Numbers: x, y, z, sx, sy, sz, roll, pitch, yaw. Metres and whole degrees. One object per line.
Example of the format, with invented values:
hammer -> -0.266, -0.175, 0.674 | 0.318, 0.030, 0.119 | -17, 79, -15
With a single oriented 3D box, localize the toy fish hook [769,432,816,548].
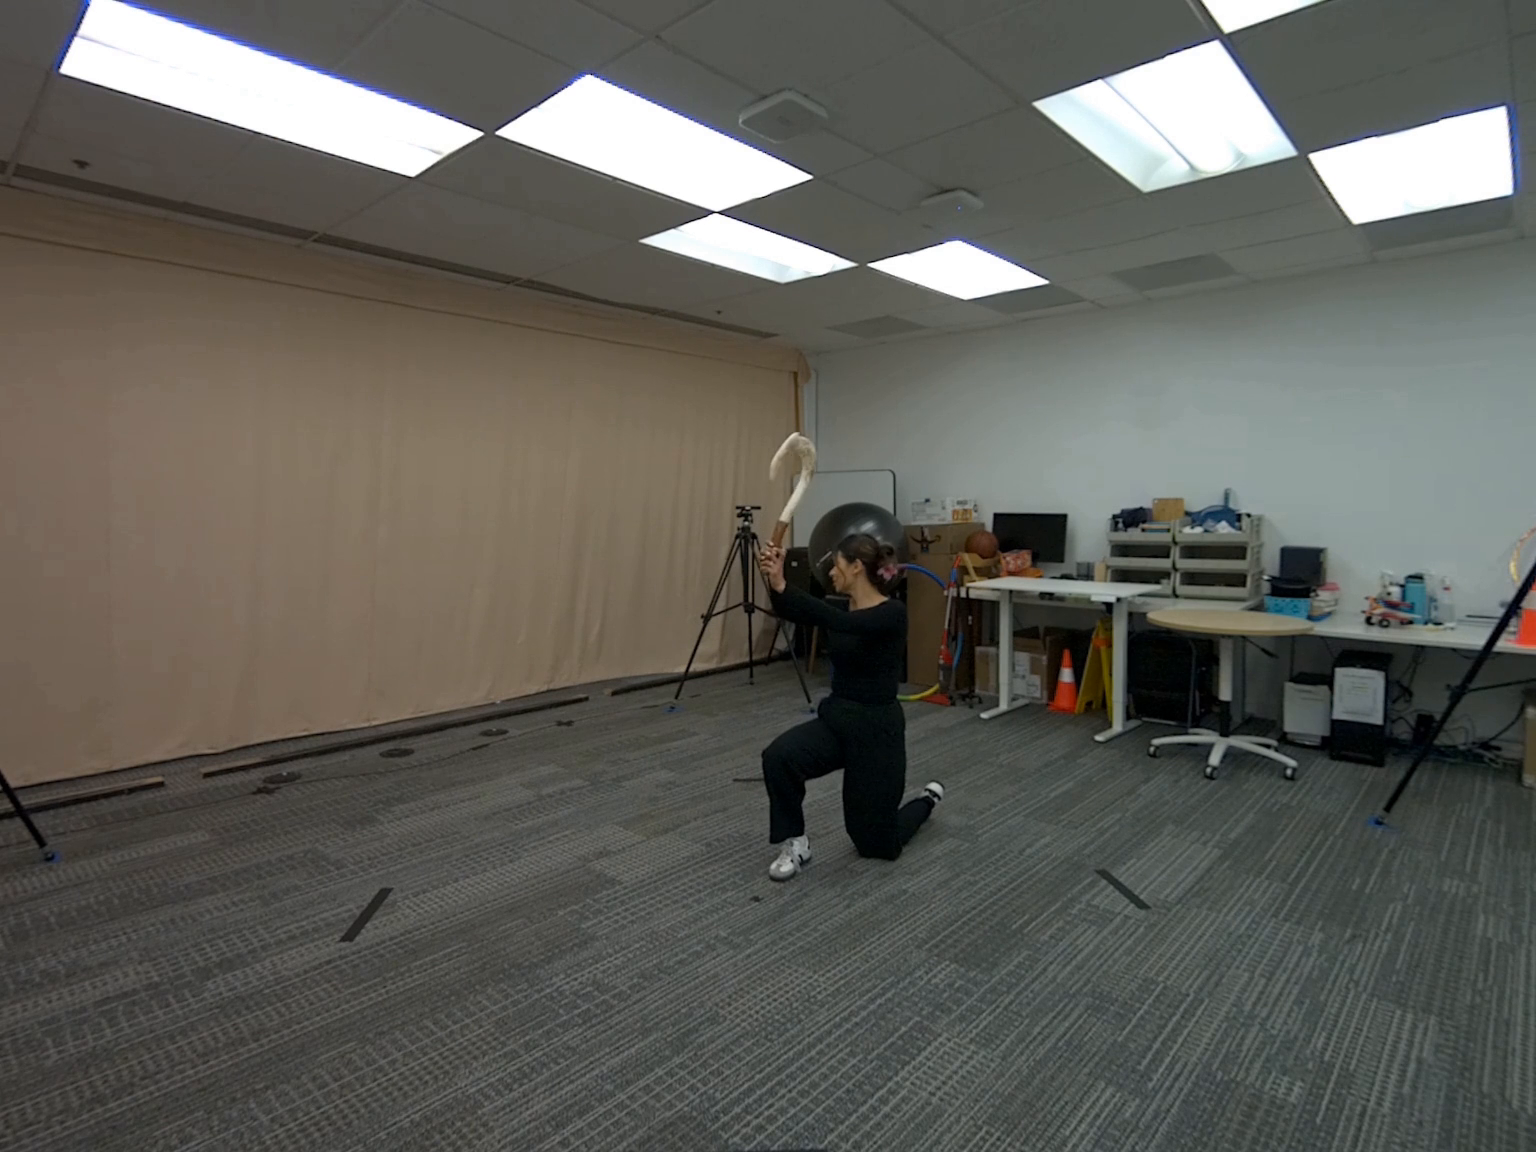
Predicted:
toy fish hook -> 0.044, -0.243, 2.973 | 0.216, 0.507, 0.050 | 19, -5, -43
